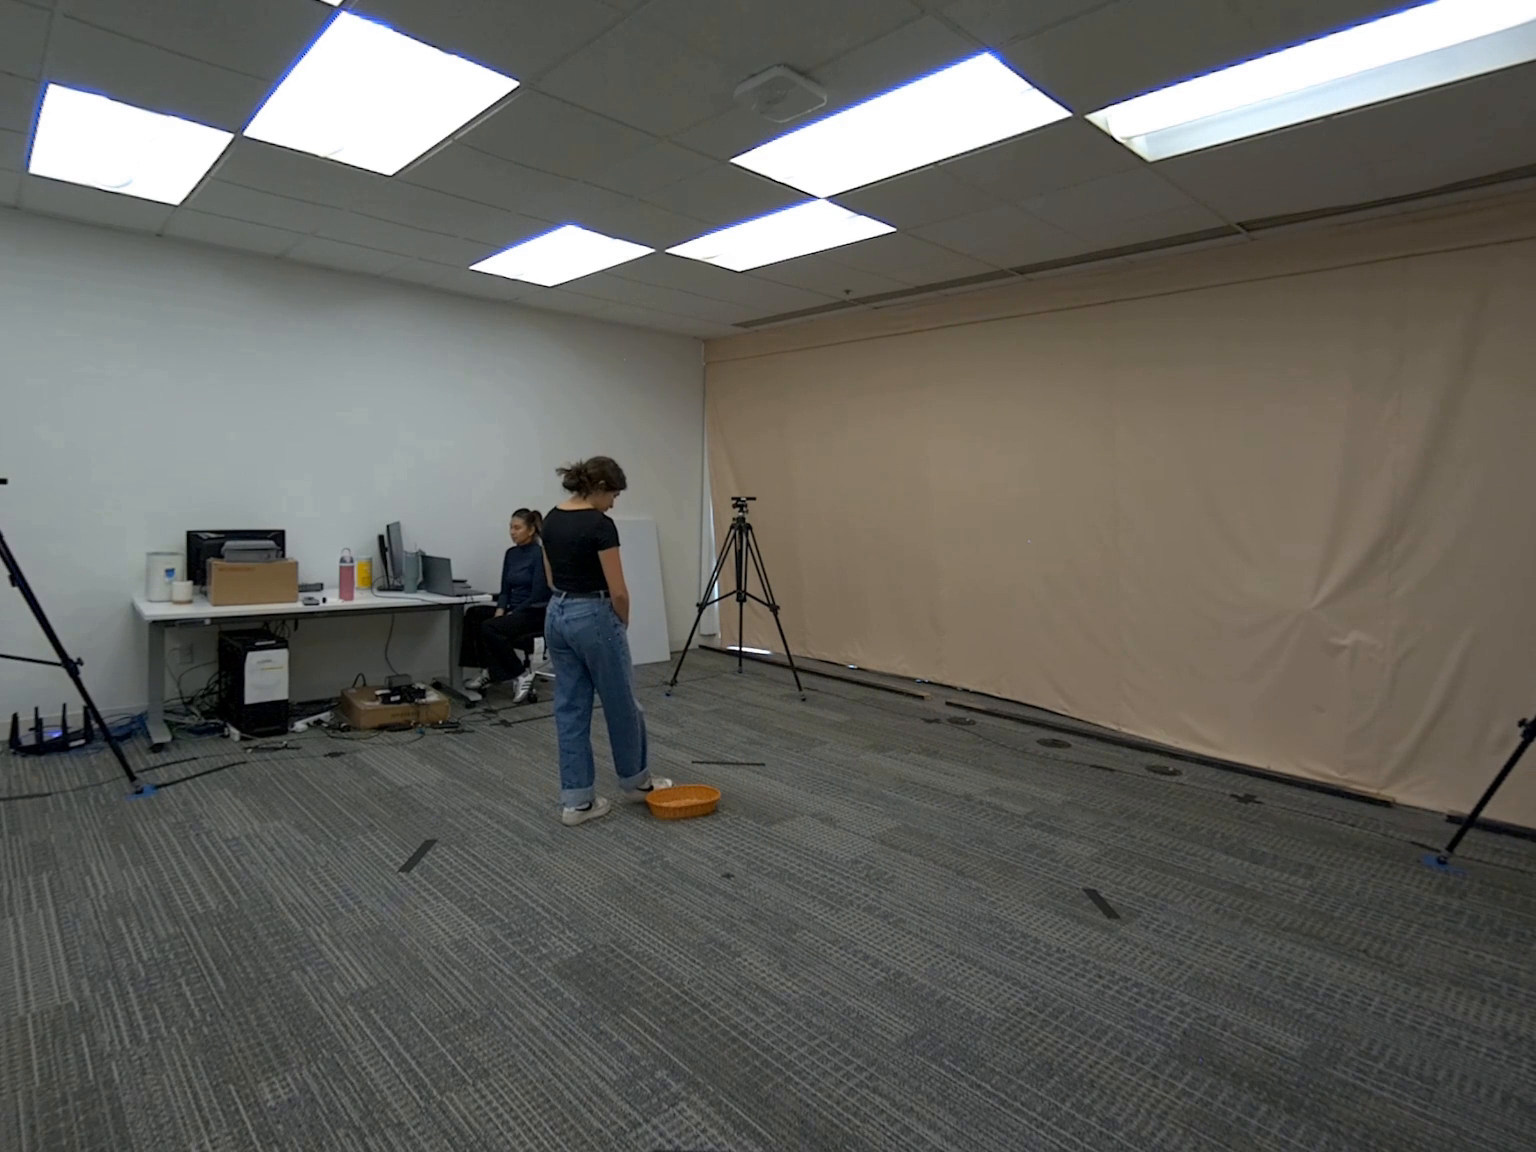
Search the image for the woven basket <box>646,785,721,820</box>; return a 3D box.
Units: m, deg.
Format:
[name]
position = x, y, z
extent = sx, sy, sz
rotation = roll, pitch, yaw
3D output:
[woven basket]
position = -0.385, 1.007, 3.744
extent = 0.344, 0.073, 0.258
rotation = -2, 5, -28
